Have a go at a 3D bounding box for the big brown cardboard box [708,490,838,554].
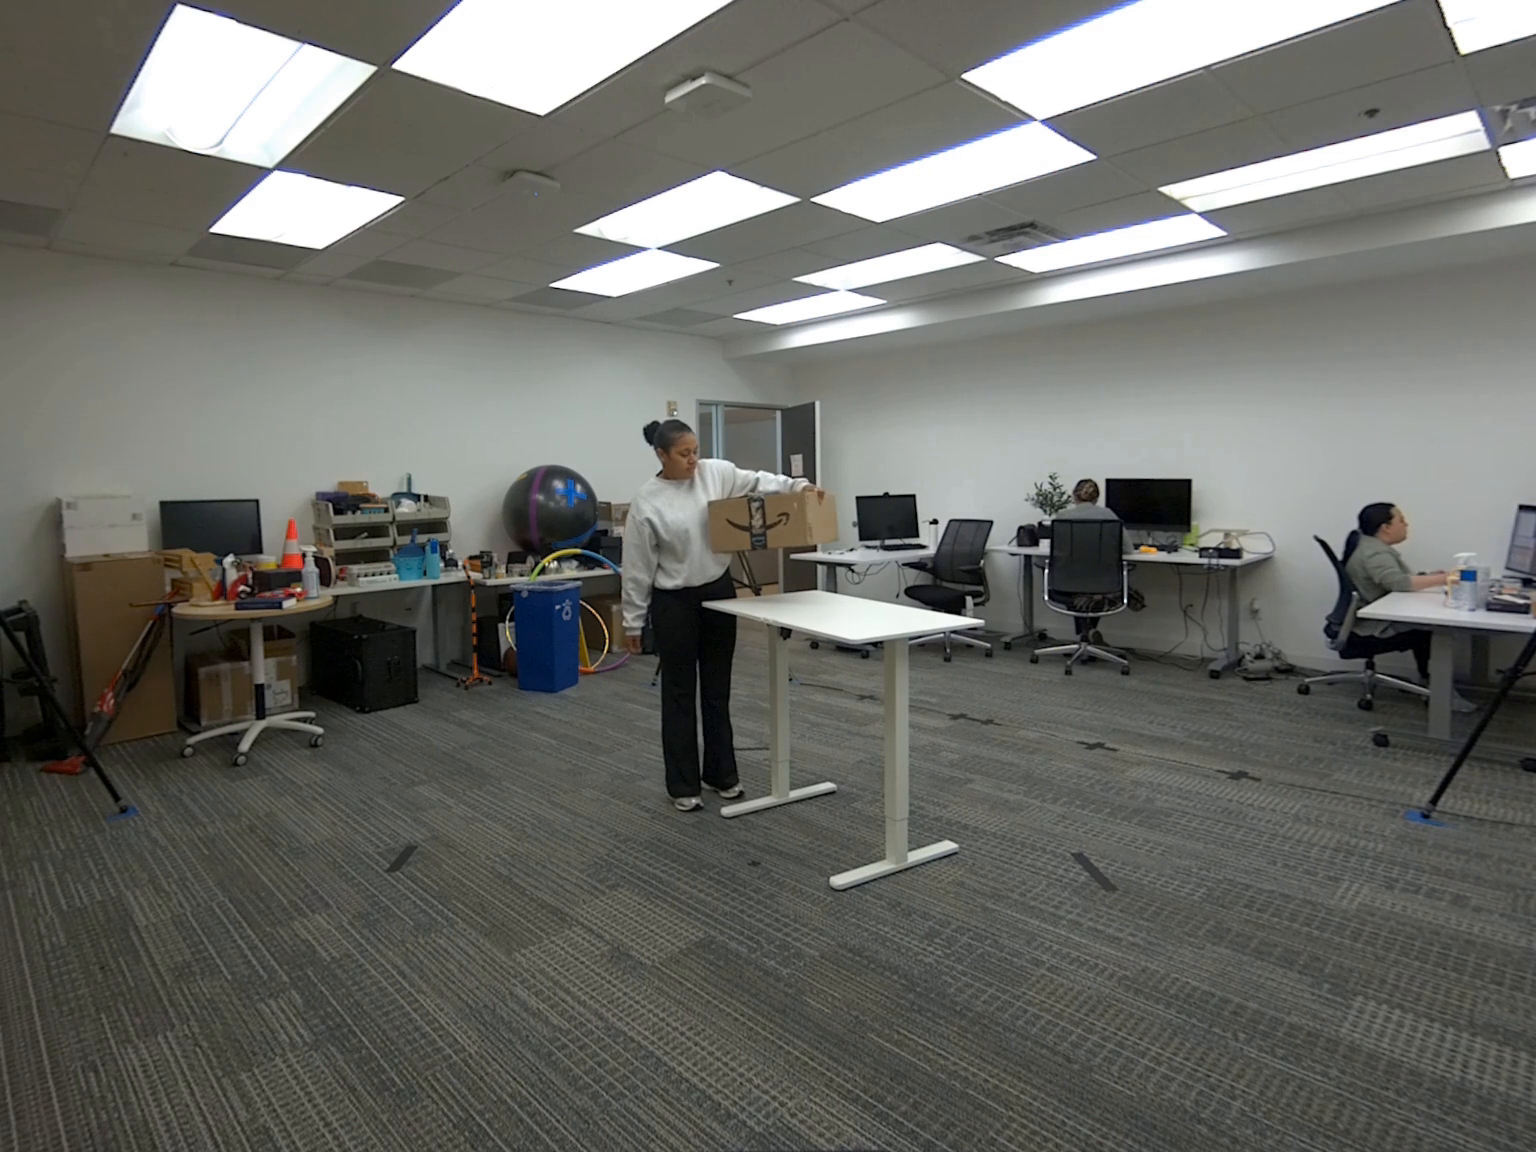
[{"bbox_3d":[0.034,-0.230,3.680,0.424,0.233,0.579,-4,1,18],"label":"big brown cardboard box"}]
